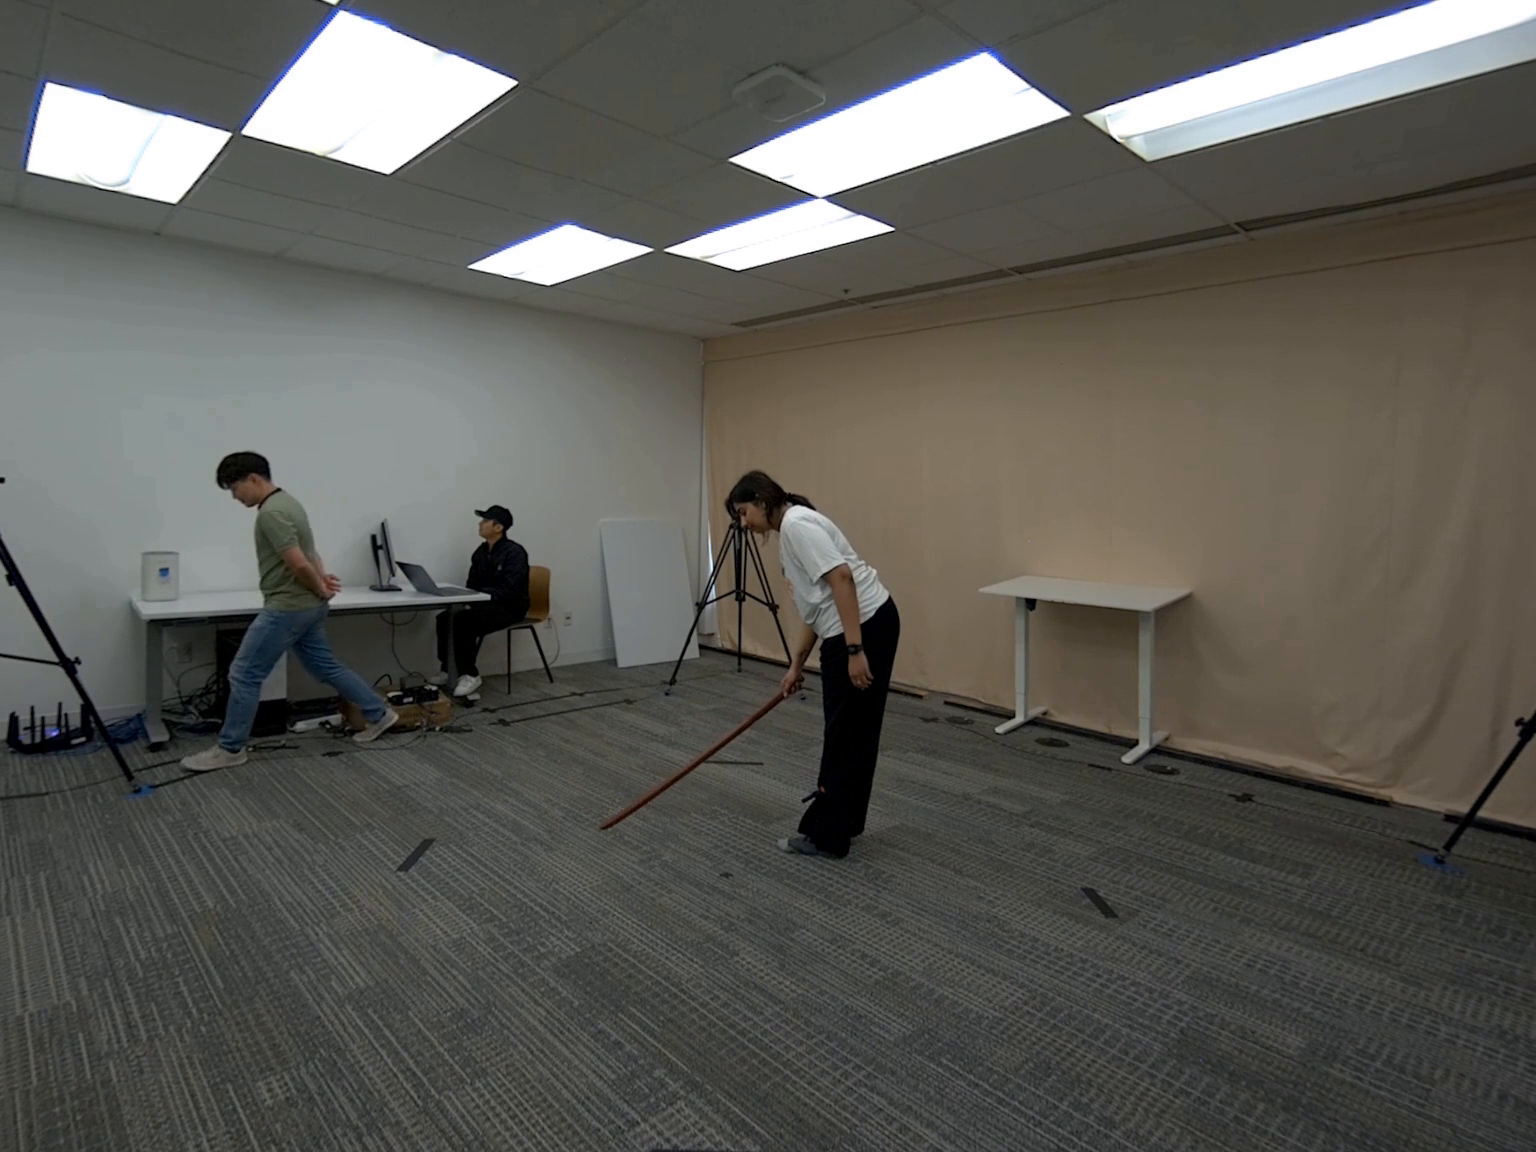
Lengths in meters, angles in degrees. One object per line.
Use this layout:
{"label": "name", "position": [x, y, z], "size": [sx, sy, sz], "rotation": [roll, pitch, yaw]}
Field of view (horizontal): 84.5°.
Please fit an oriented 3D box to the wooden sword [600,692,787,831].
{"label": "wooden sword", "position": [-0.260, 0.724, 3.438], "size": [1.022, 0.052, 0.023], "rotation": [-35, -21, -12]}
